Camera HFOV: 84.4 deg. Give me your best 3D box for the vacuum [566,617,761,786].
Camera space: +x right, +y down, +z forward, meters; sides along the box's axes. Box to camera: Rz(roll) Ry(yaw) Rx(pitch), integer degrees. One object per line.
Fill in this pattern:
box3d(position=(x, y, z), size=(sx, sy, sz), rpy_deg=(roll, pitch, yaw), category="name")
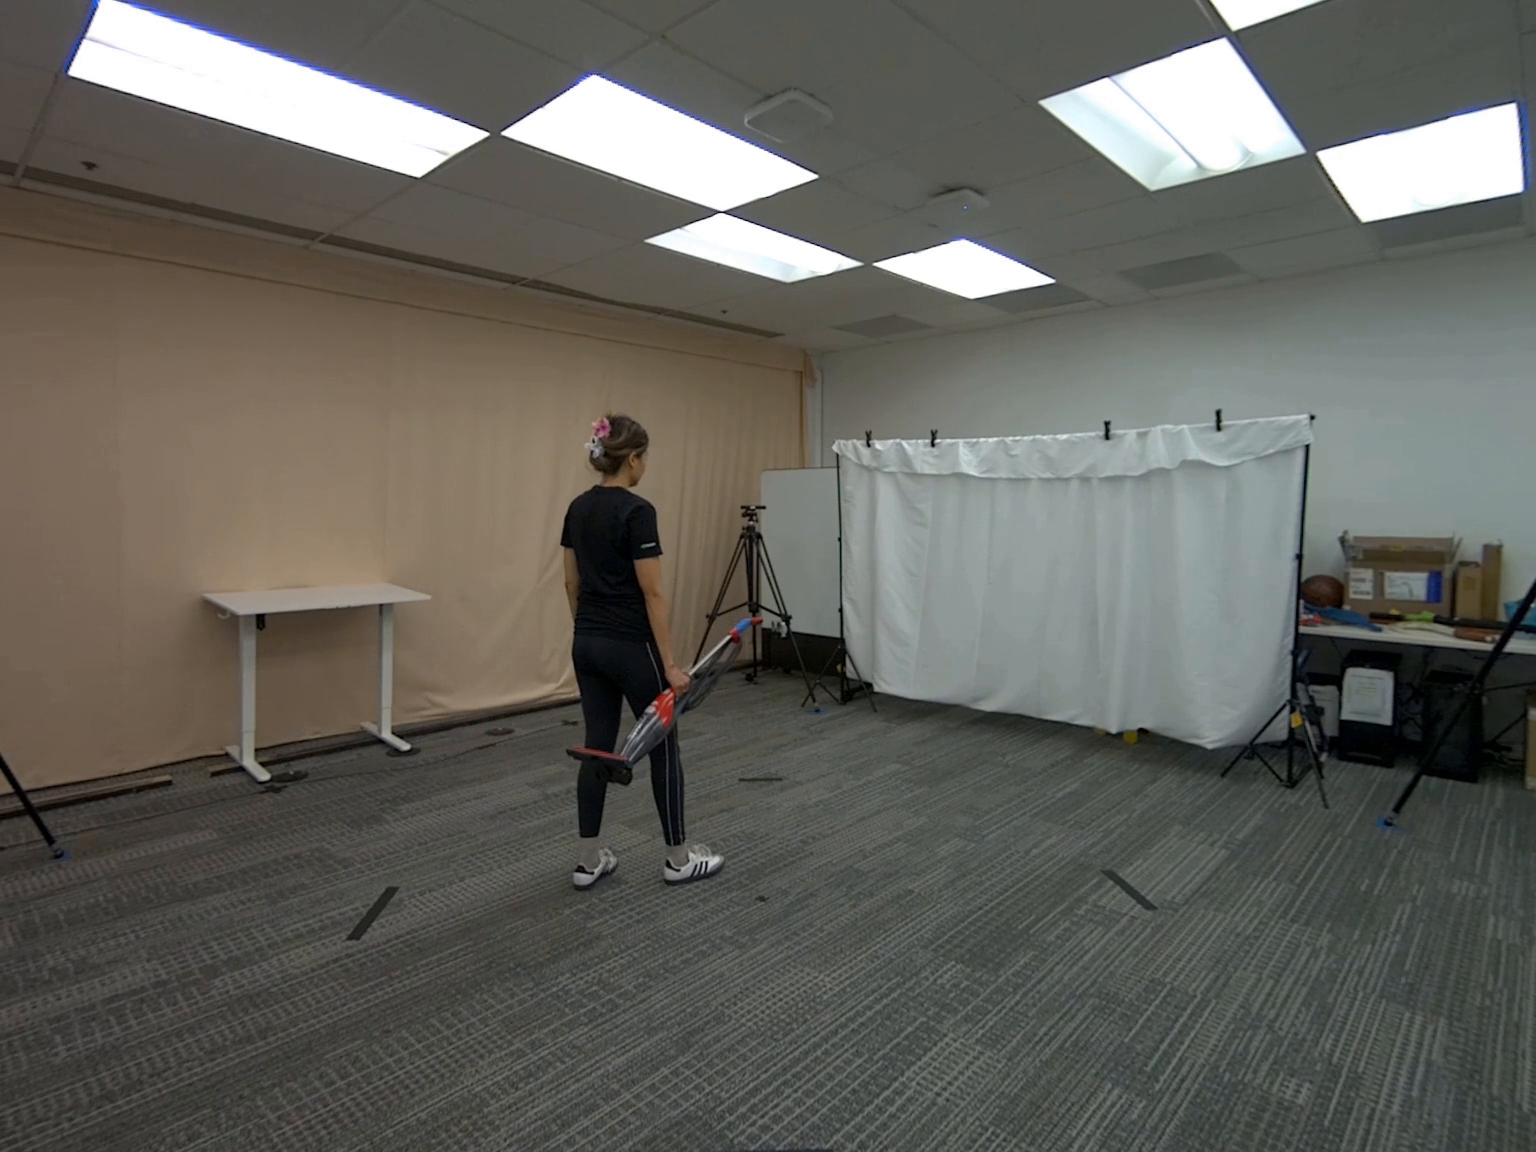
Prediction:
box3d(position=(-0.245, 0.392, 3.070), size=(0.260, 0.142, 1.035), rpy_deg=(0, 24, 33), category="vacuum")
